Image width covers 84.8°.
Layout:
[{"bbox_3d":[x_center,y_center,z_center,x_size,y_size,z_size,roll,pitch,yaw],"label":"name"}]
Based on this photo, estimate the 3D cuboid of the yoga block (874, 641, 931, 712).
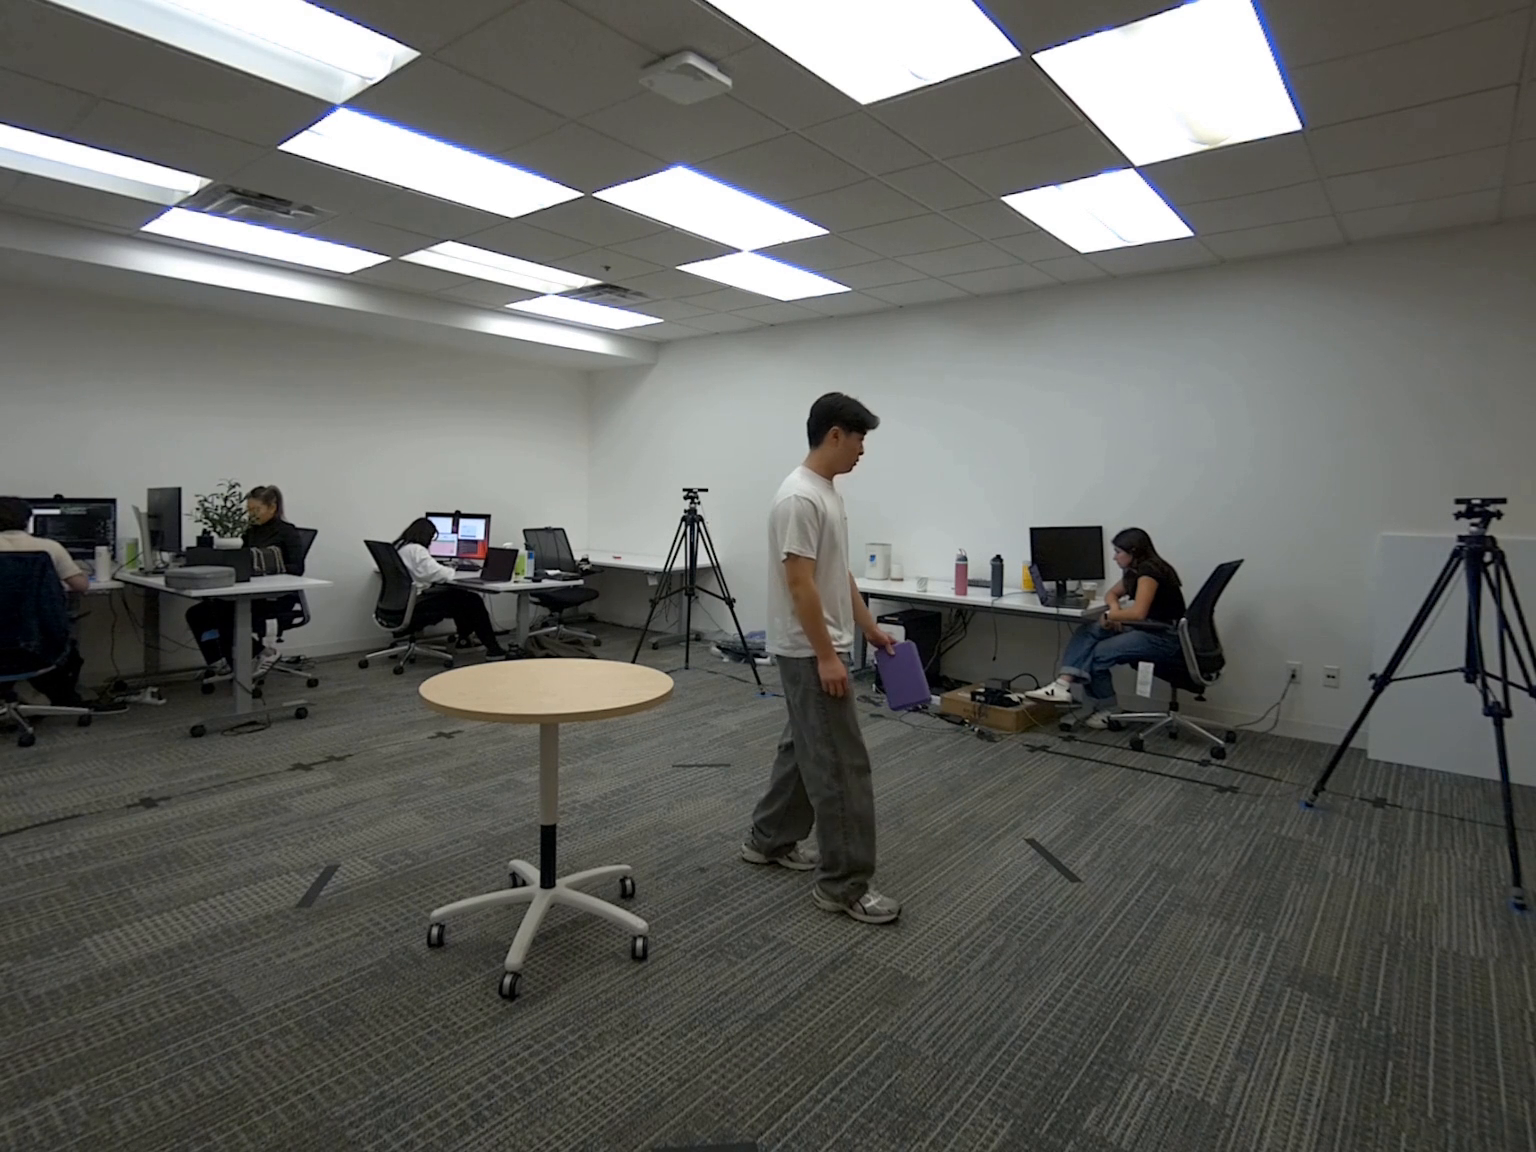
[{"bbox_3d":[0.481,0.365,3.142,0.150,0.235,0.074,-18,-20,12],"label":"yoga block"}]
